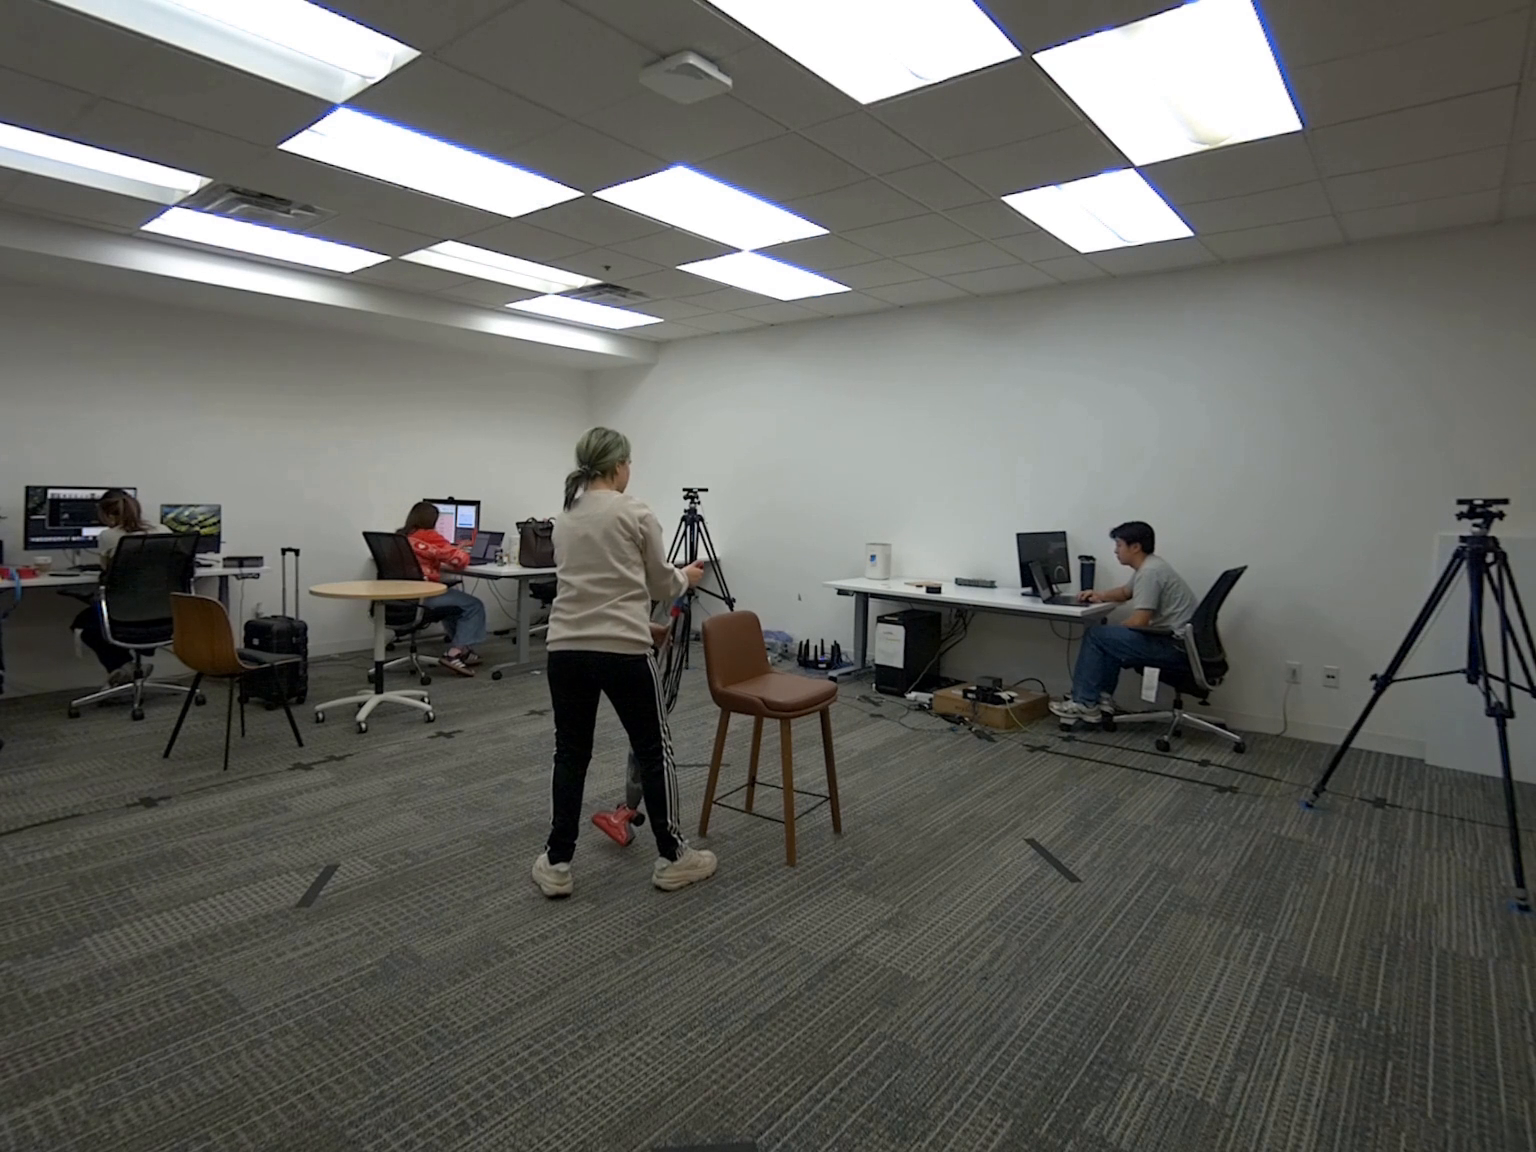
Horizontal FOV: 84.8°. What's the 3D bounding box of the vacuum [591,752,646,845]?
[{"bbox_3d":[-0.438,0.460,3.320,0.262,1.052,0.138,12,-6,42],"label":"vacuum"}]
